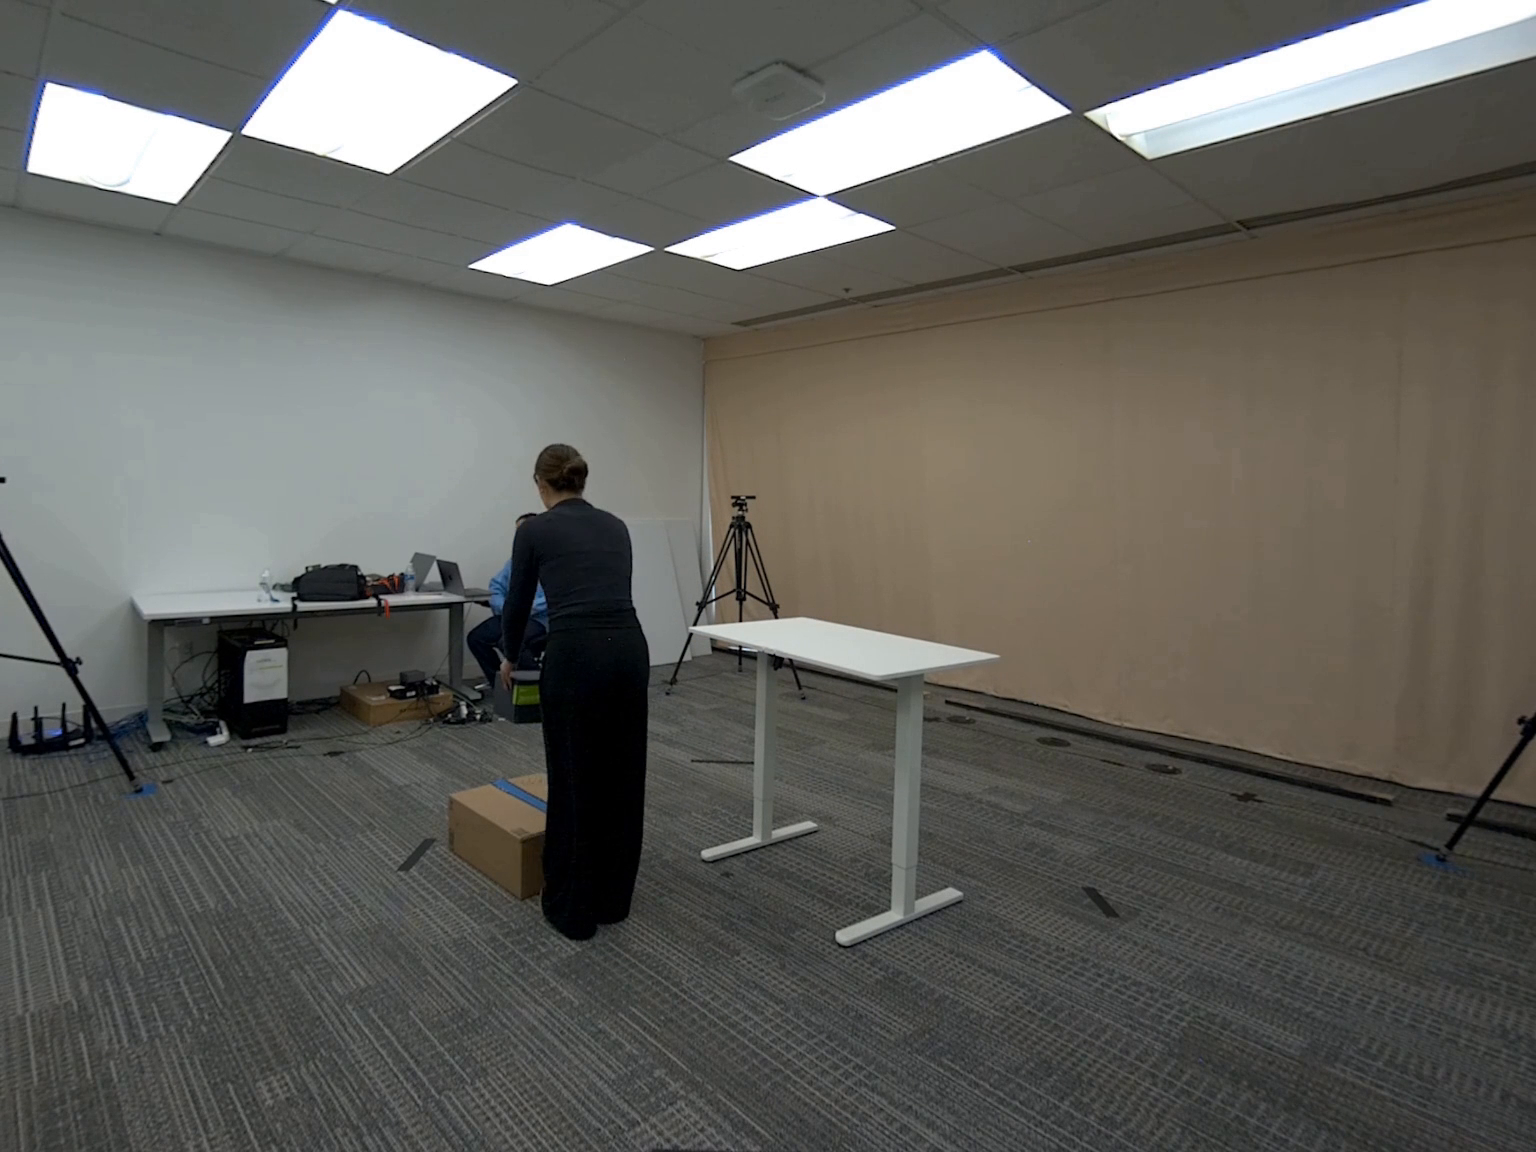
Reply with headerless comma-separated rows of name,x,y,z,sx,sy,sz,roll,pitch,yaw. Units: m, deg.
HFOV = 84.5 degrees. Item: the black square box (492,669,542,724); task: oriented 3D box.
black square box,-0.853,0.442,3.084,0.222,0.156,0.222,4,0,-37
